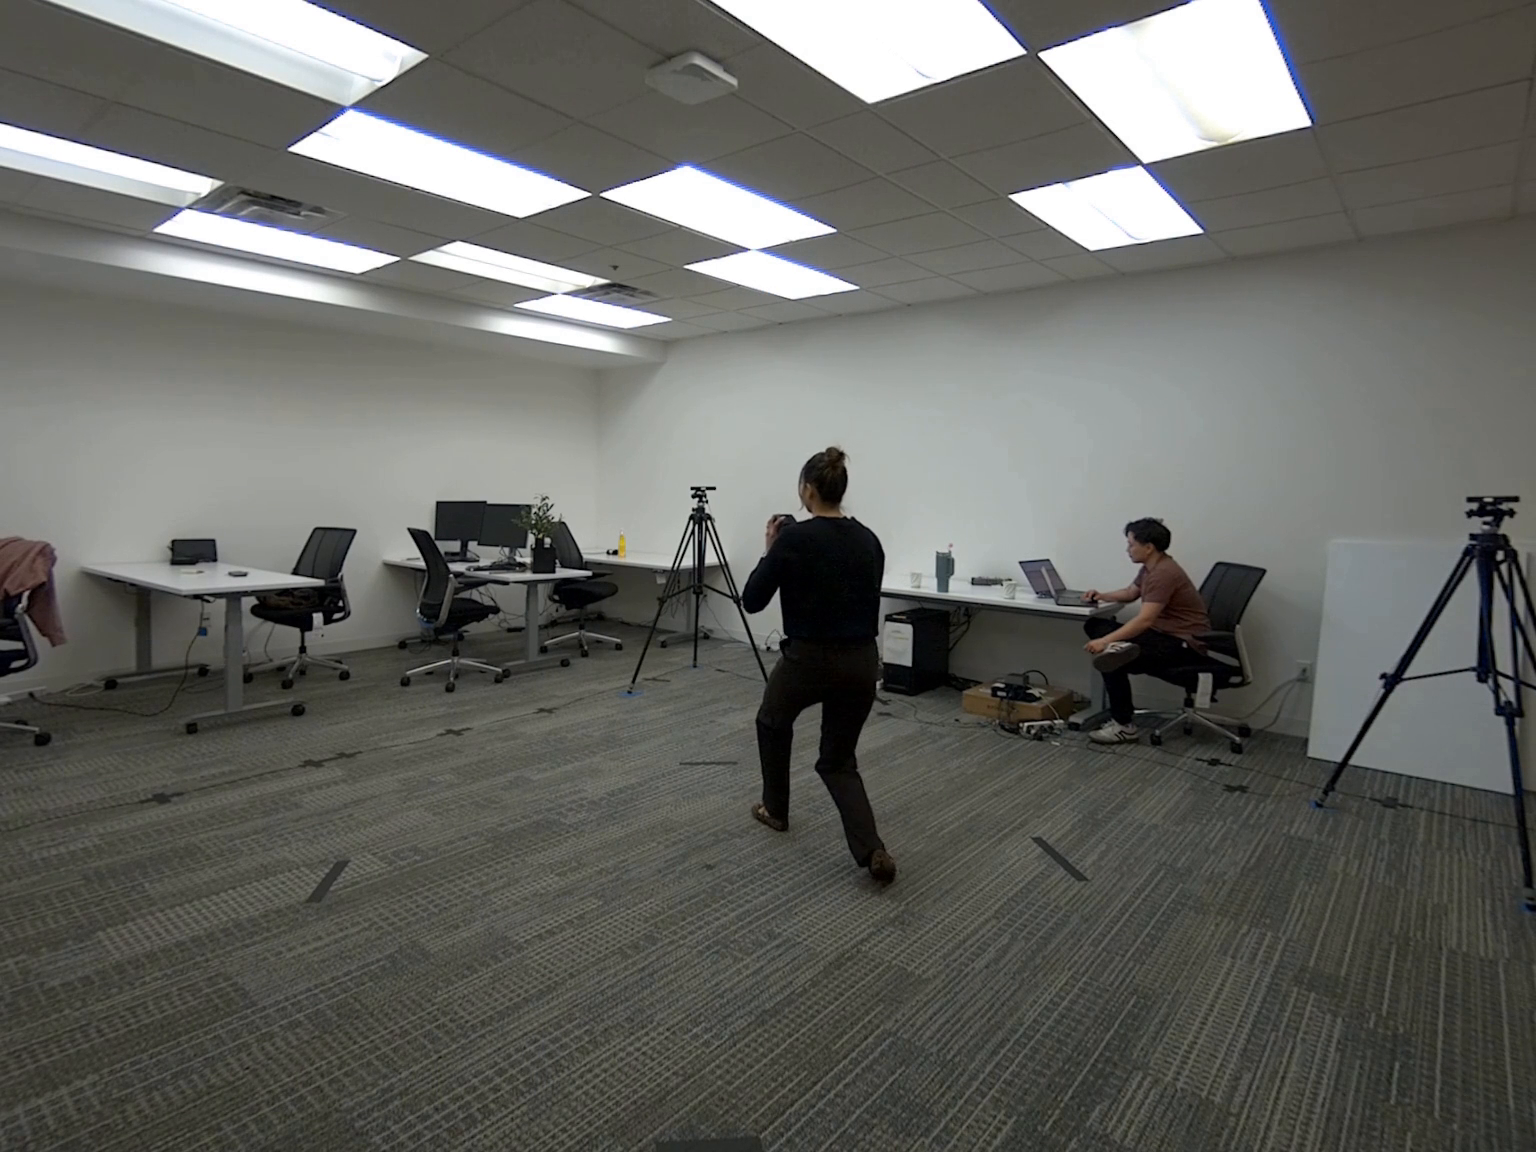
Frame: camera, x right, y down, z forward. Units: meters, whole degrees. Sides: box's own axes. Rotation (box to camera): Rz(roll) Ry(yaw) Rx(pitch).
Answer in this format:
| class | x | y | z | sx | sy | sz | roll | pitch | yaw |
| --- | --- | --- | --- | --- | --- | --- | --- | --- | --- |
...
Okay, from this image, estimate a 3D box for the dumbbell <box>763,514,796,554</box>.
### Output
| class | x | y | z | sx | sy | sz | roll | pitch | yaw |
| --- | --- | --- | --- | --- | --- | --- | --- | --- | --- |
| dumbbell | 0.144 | -0.178 | 3.368 | 0.287 | 0.107 | 0.128 | -2 | 41 | -24 |
